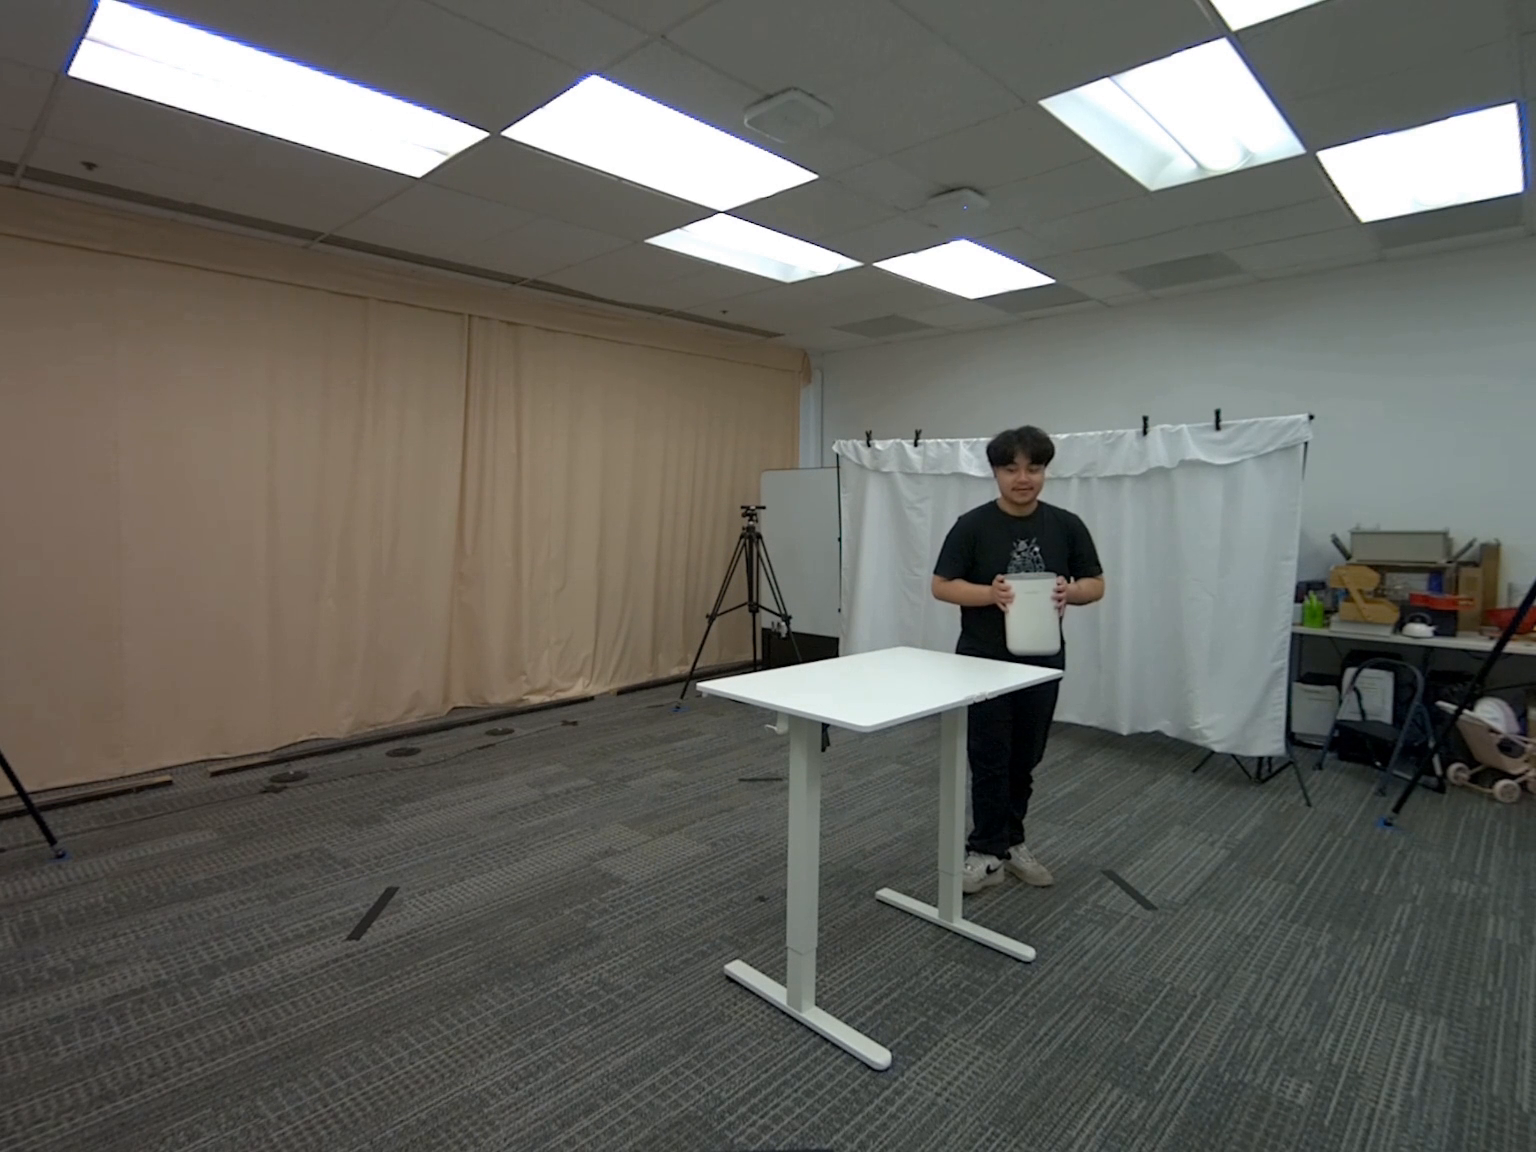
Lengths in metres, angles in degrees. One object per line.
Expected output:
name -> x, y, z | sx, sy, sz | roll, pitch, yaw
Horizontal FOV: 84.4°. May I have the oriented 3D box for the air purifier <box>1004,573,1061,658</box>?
air purifier -> 0.902, 0.129, 2.884 | 0.174, 0.264, 0.169 | -4, 5, 14
